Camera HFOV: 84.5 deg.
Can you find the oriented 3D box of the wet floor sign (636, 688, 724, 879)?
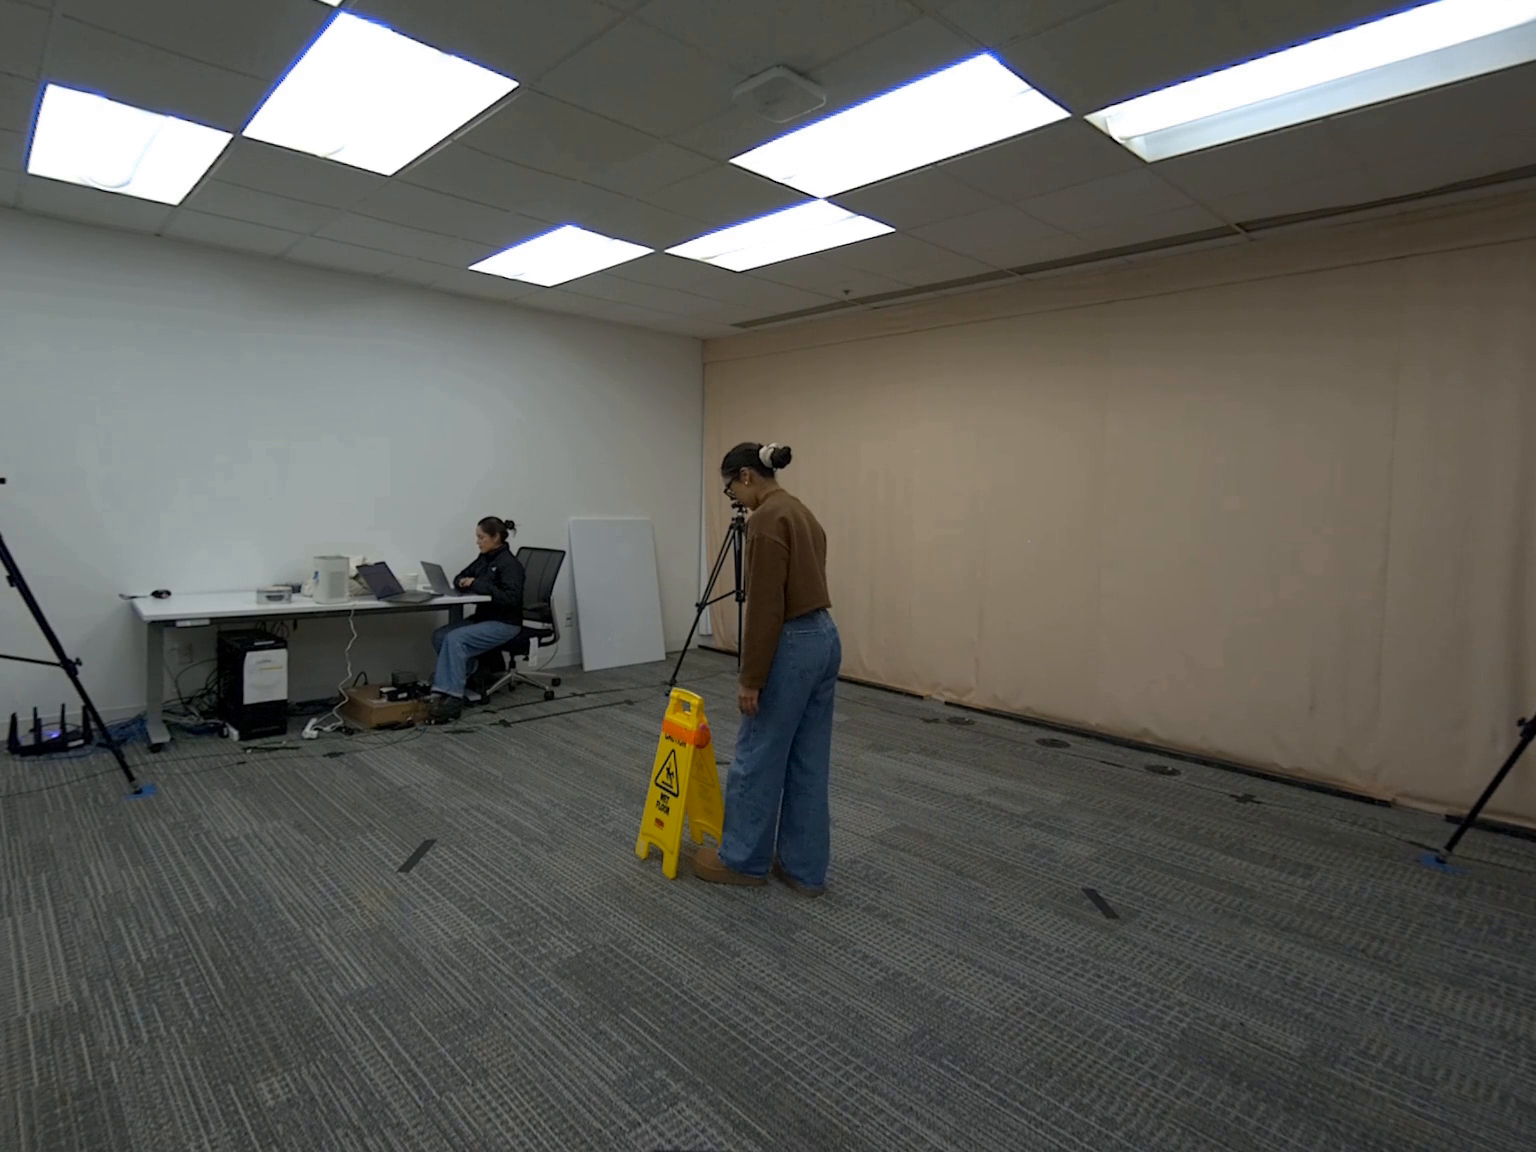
[{"bbox_3d":[-0.323,0.767,3.239,0.283,0.645,0.289,0,4,-38],"label":"wet floor sign"}]
